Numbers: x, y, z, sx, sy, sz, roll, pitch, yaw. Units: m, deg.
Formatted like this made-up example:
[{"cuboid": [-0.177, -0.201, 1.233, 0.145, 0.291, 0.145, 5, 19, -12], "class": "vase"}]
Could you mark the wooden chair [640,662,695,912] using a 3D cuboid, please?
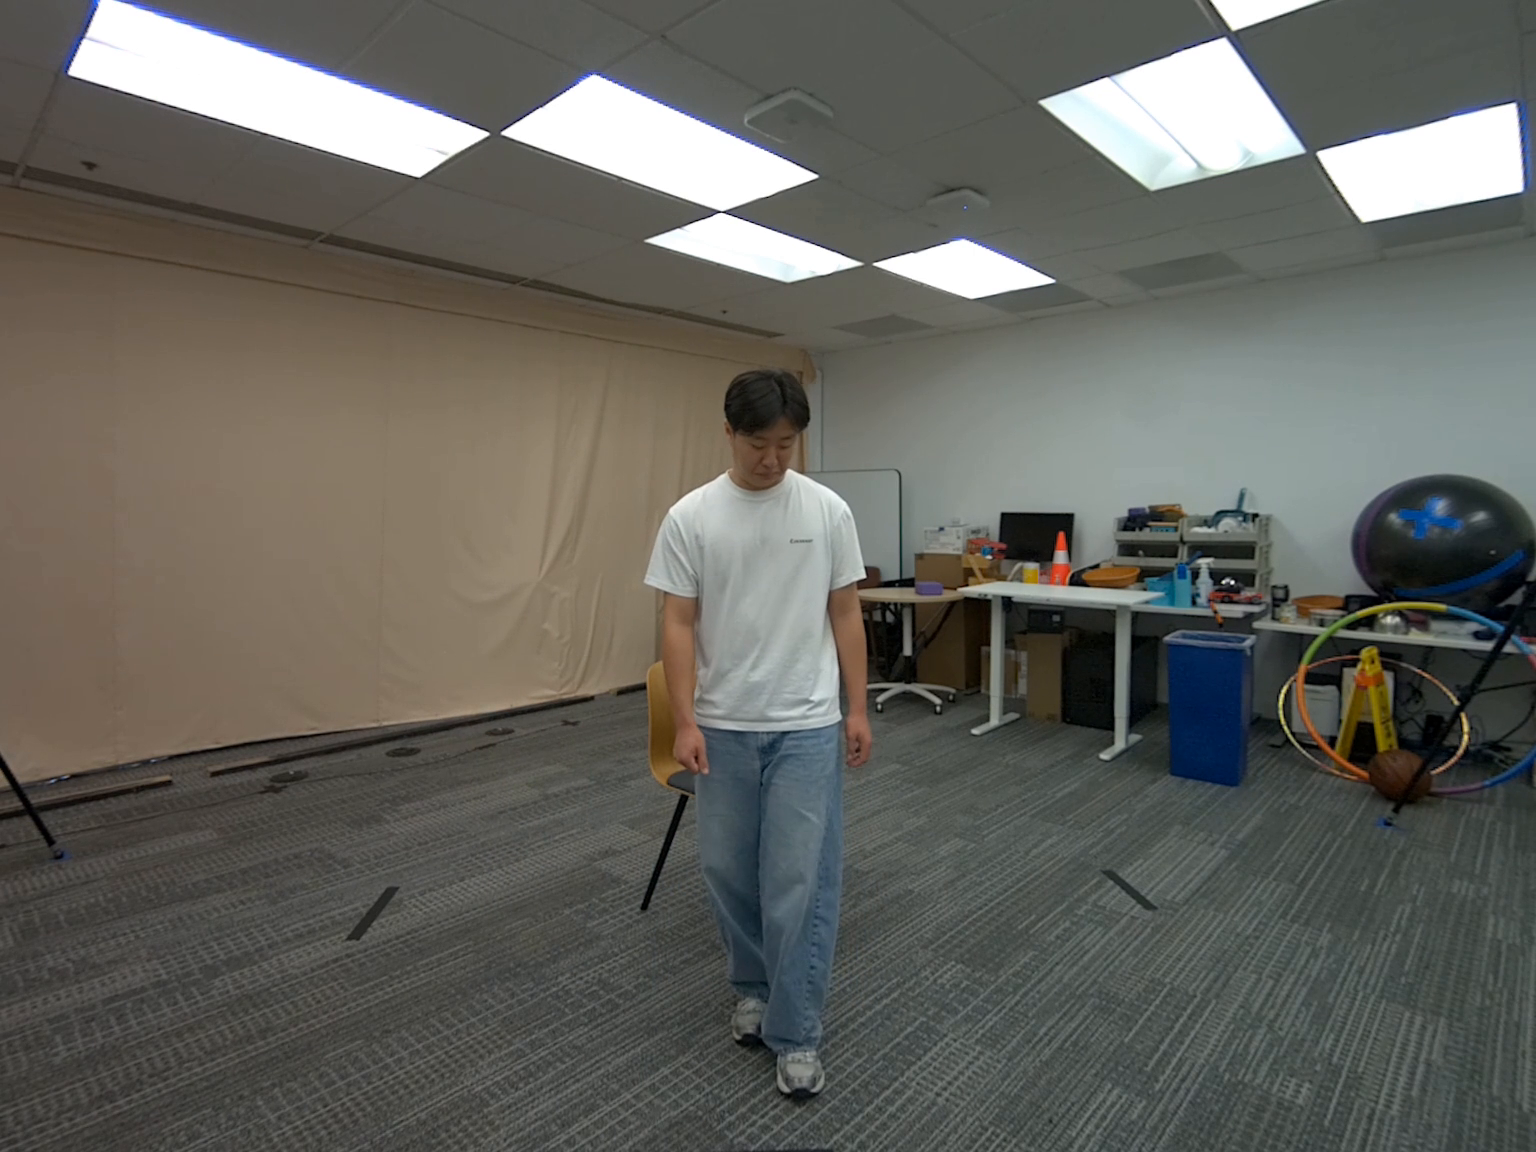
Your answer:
[{"cuboid": [-0.116, 0.728, 2.857, 0.539, 0.877, 0.463, -3, 1, 44], "class": "wooden chair"}]
